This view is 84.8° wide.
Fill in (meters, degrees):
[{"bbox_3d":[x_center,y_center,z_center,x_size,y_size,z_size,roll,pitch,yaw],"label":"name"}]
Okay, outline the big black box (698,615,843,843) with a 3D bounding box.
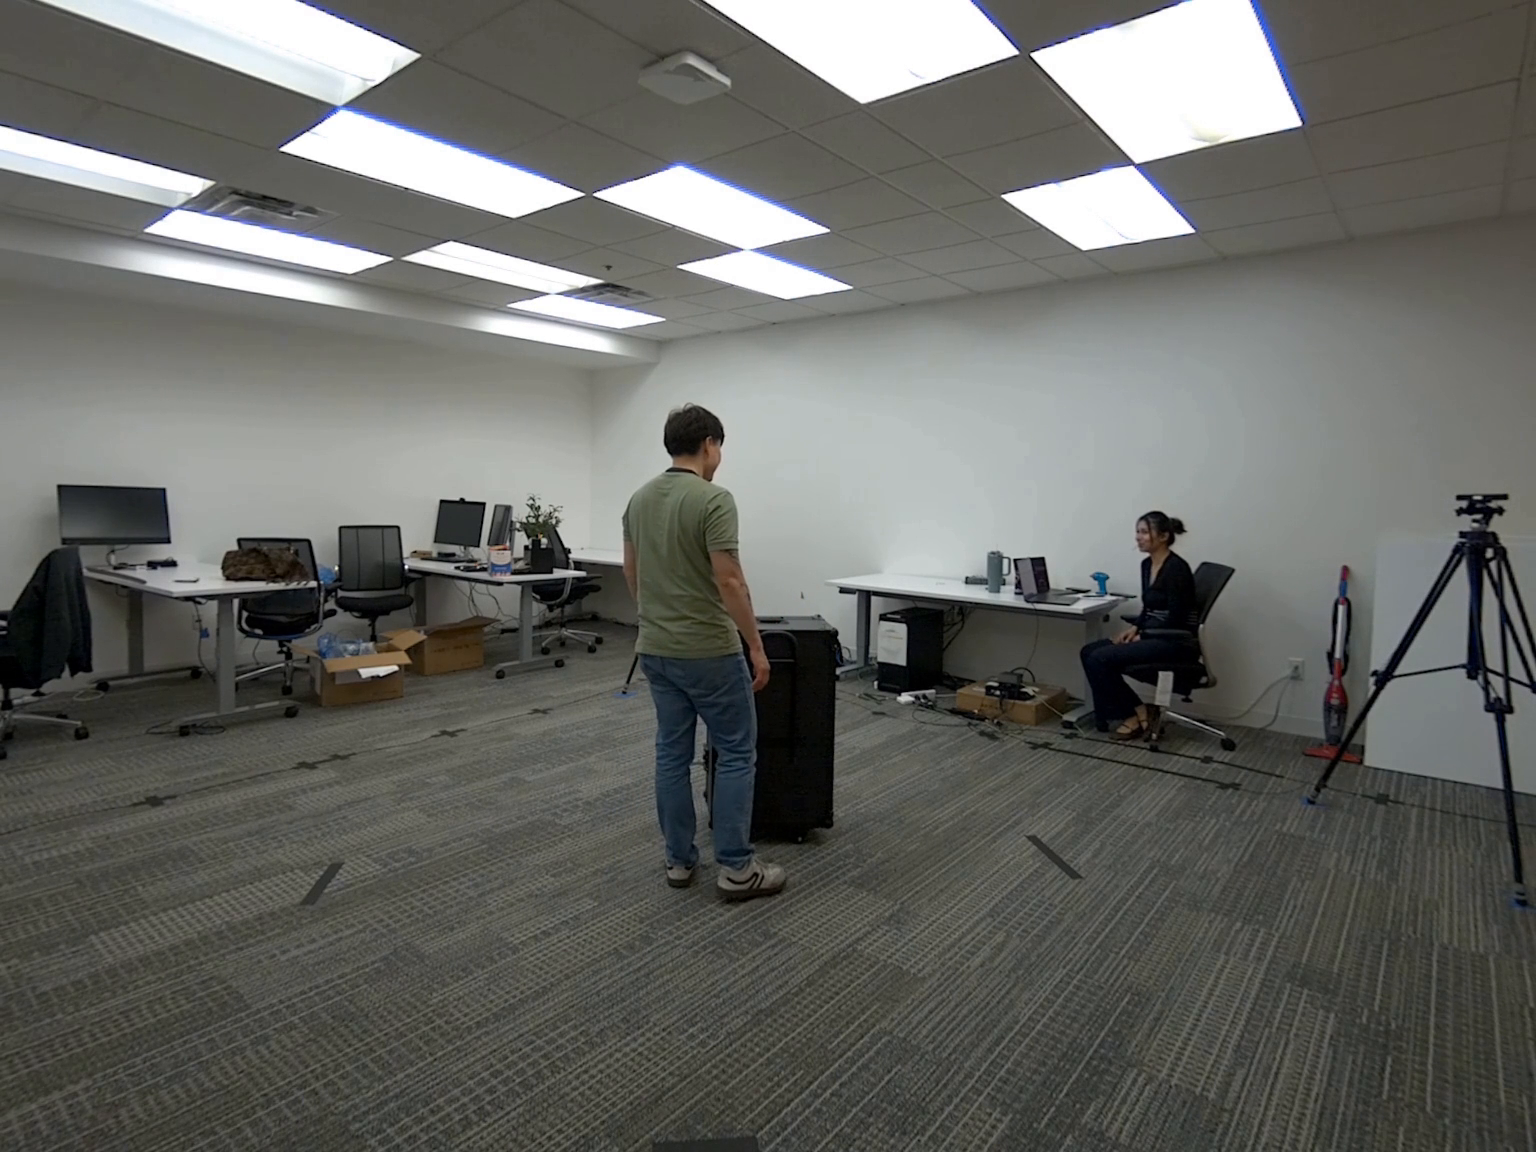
[{"bbox_3d":[0.002,0.610,3.454,0.520,0.858,0.399,0,4,-3],"label":"big black box"}]
